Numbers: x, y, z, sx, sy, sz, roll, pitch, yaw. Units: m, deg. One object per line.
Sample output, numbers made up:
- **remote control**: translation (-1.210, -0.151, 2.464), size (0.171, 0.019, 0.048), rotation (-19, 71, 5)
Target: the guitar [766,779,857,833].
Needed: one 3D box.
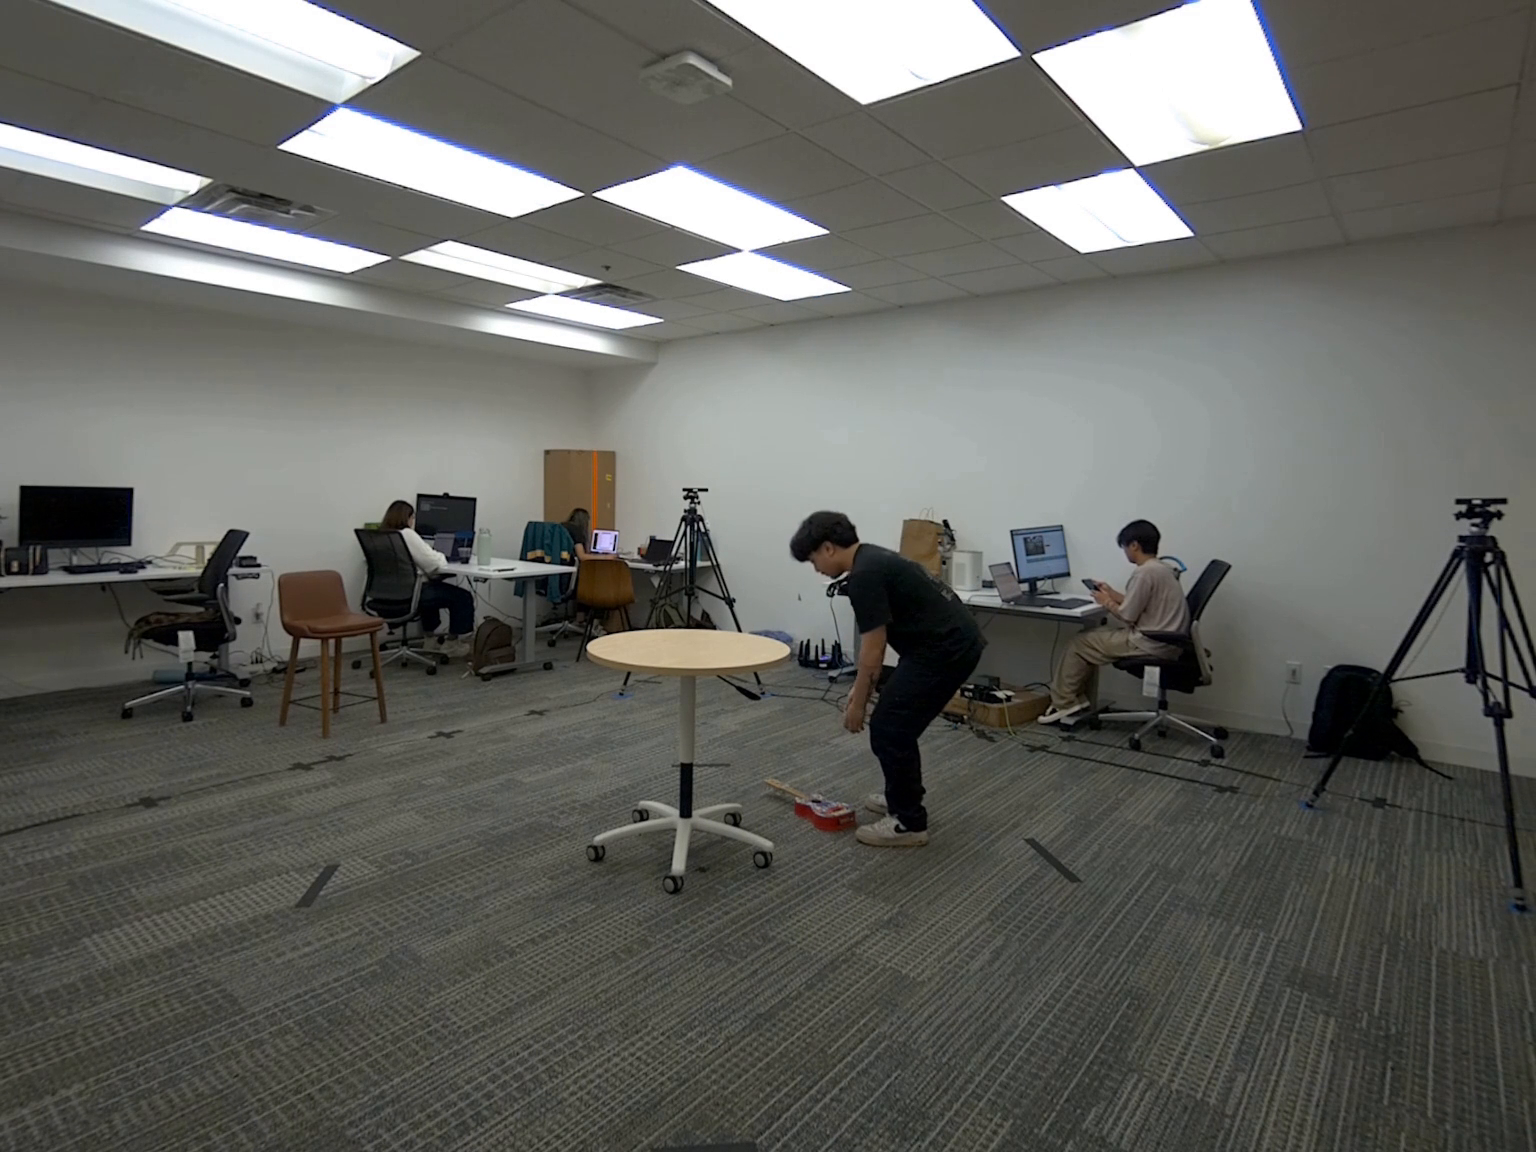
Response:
- **guitar**: translation (0.175, 0.985, 3.730), size (0.188, 0.070, 0.513), rotation (-3, 8, -30)
